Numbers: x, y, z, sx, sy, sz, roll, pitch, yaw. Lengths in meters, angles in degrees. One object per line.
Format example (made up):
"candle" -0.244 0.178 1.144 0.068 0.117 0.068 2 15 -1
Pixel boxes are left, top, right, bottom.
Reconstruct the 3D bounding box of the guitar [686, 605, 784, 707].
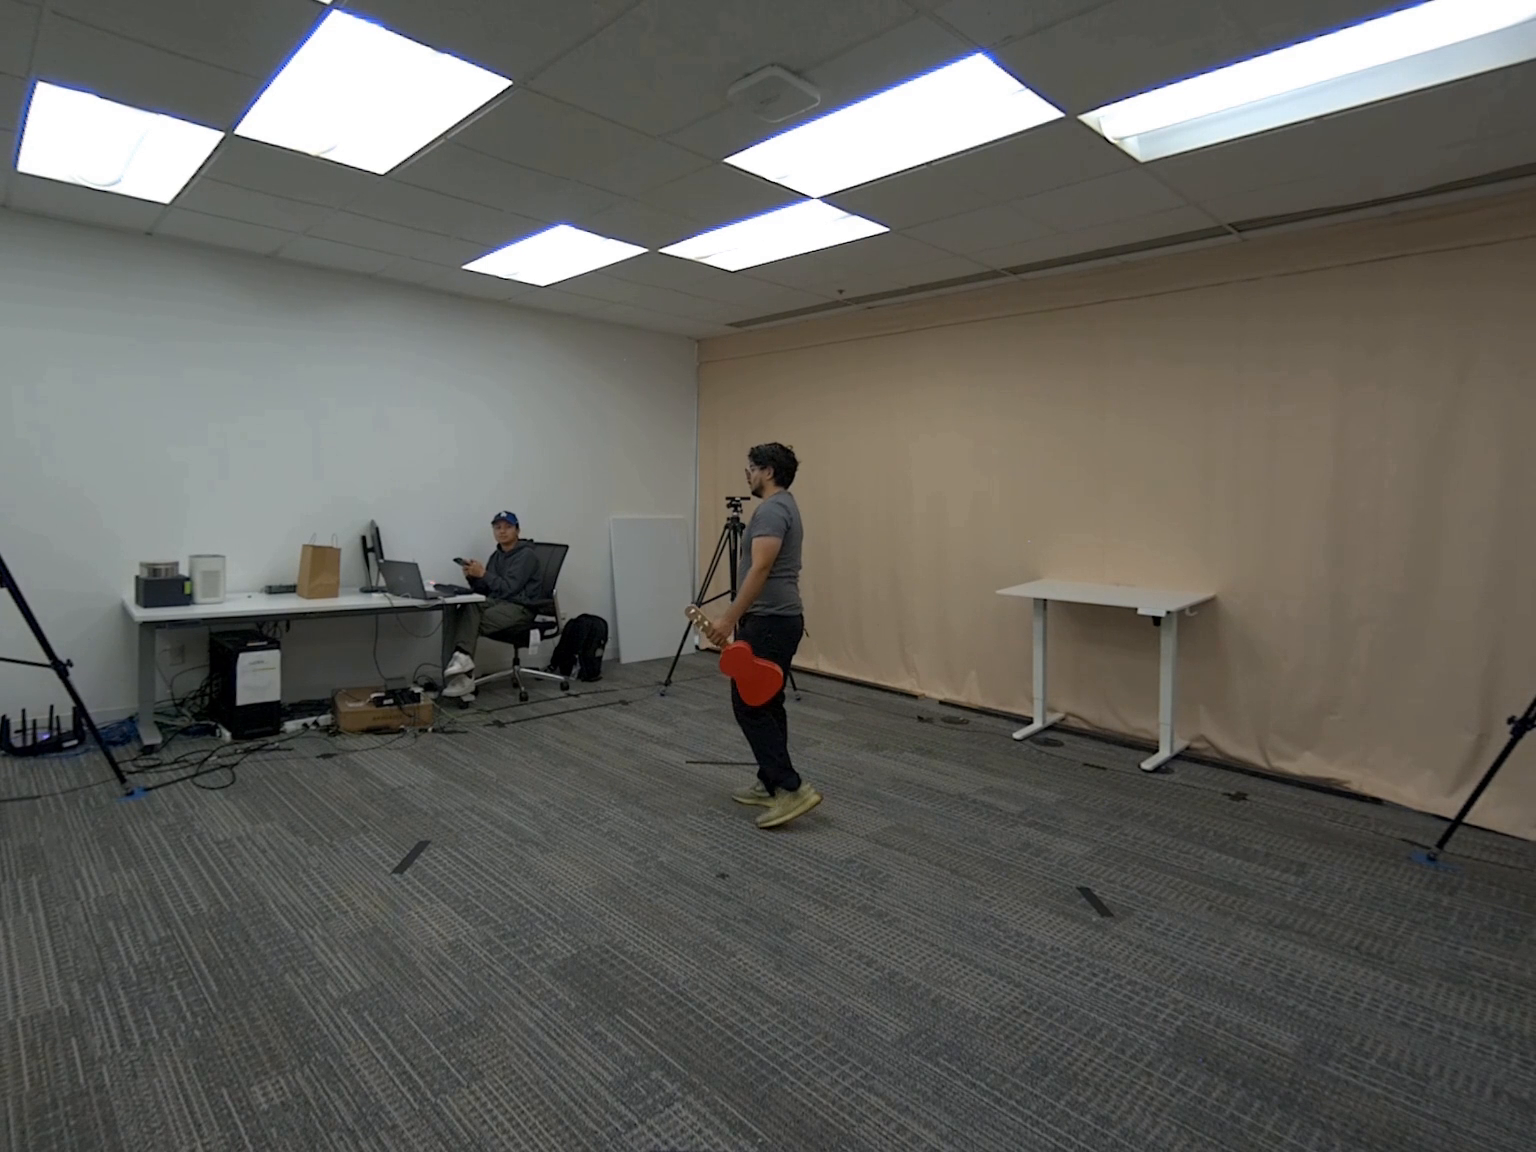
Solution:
"guitar" -0.186 0.329 3.440 0.495 0.193 0.071 40 14 -5
